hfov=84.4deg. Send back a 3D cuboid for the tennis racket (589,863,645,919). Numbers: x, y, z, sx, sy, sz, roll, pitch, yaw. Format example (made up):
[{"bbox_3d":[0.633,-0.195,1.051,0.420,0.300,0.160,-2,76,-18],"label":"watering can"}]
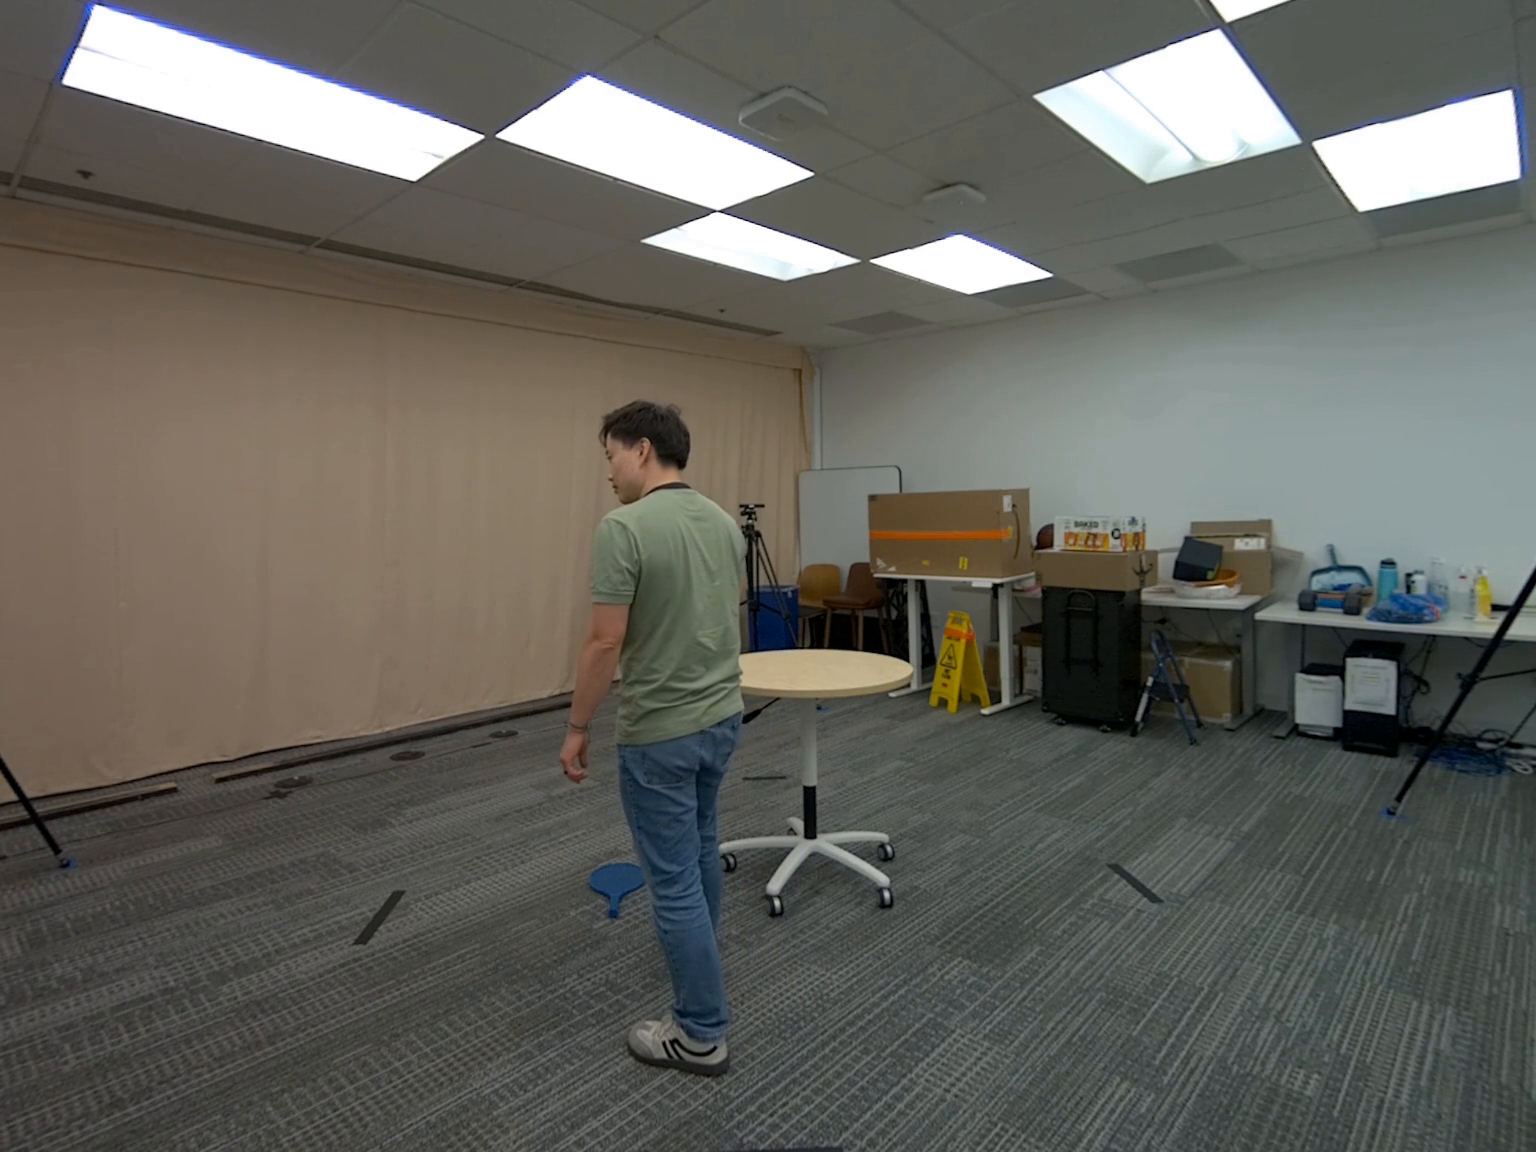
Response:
[{"bbox_3d":[-0.553,1.132,3.062,0.213,0.032,0.436,-2,4,-5],"label":"tennis racket"}]
